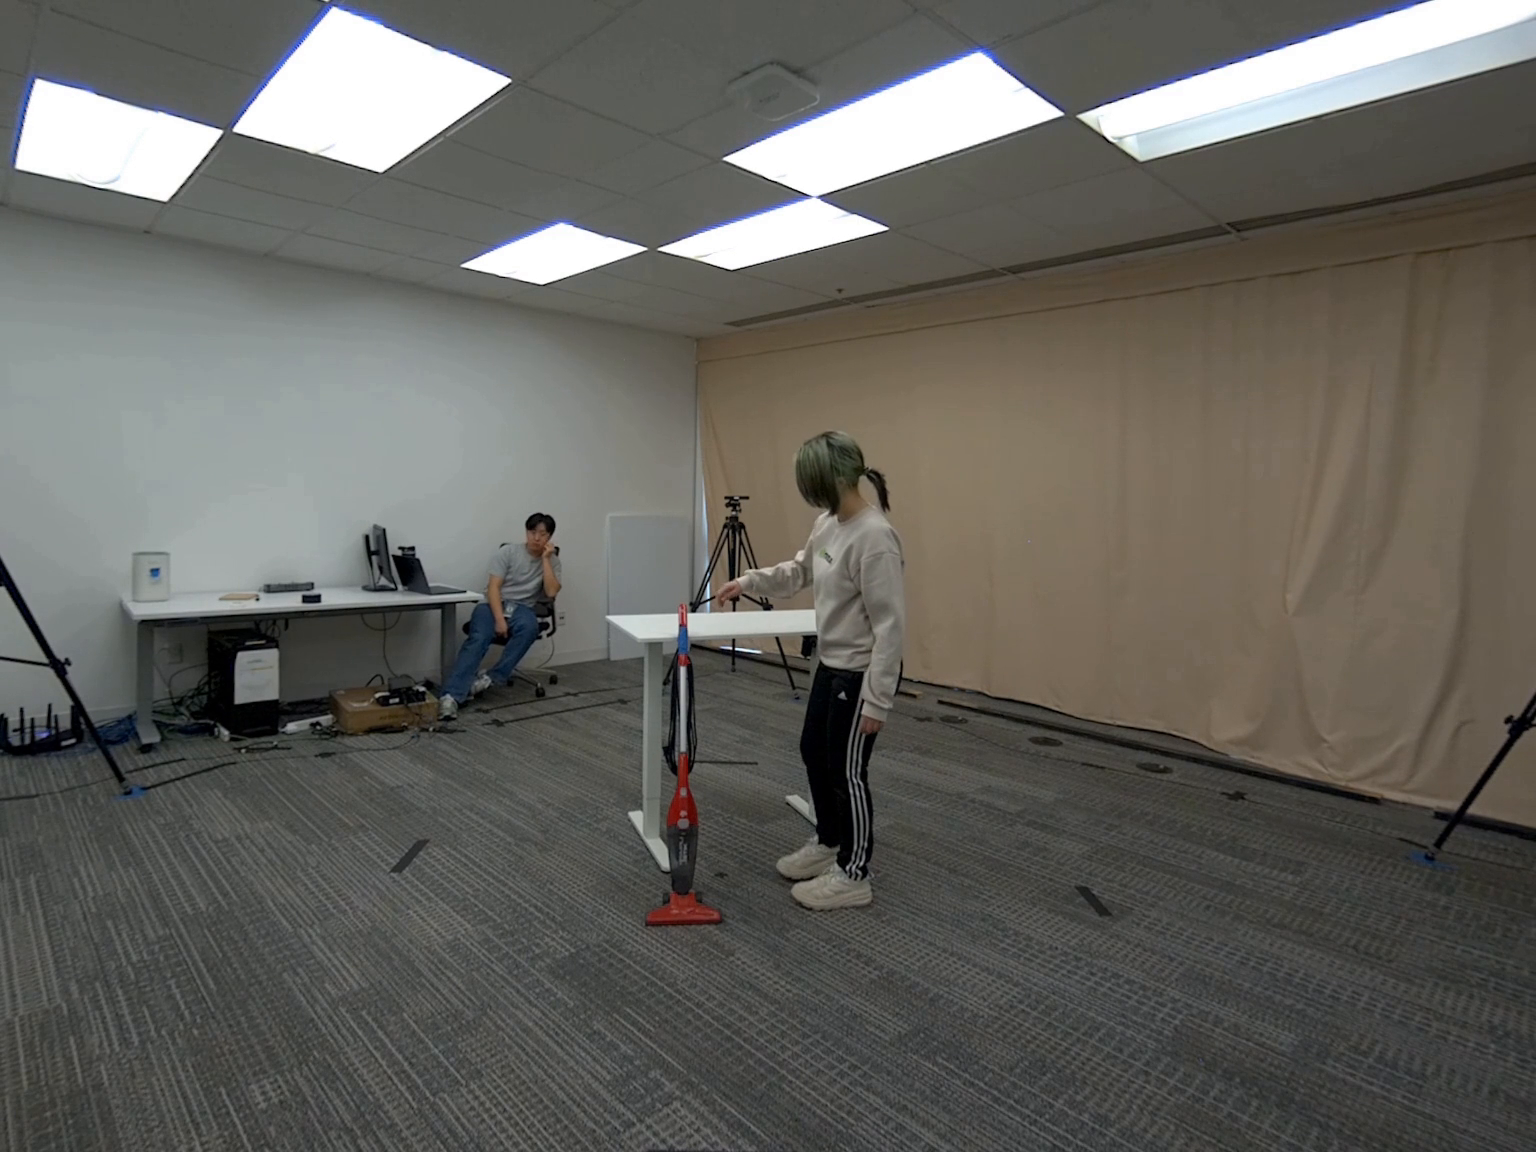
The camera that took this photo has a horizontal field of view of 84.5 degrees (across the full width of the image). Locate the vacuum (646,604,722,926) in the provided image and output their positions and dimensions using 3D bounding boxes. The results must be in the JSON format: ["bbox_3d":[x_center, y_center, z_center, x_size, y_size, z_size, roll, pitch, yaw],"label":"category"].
[{"bbox_3d":[-0.303,0.624,2.961,0.250,1.064,0.143,2,-19,-13],"label":"vacuum"}]
